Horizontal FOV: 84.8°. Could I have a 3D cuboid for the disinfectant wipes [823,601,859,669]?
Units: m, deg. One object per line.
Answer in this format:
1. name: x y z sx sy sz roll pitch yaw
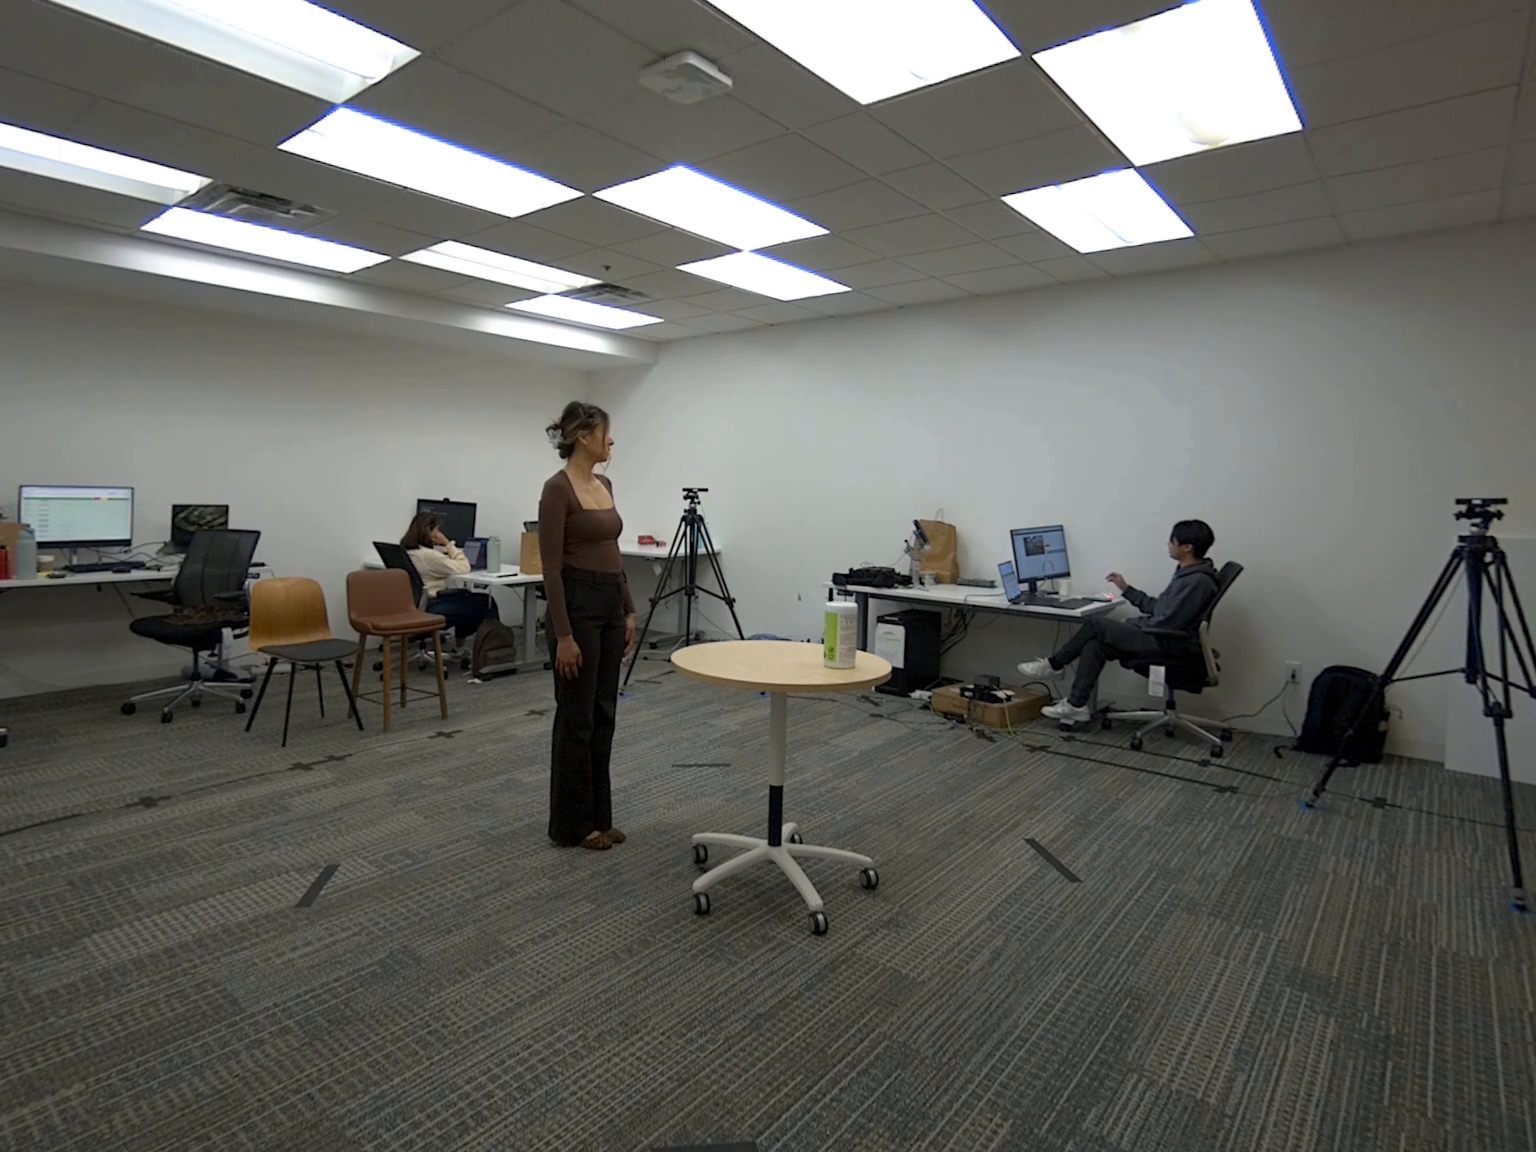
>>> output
1. disinfectant wipes: 0.243 0.196 2.887 0.117 0.216 0.118 1 4 -2
